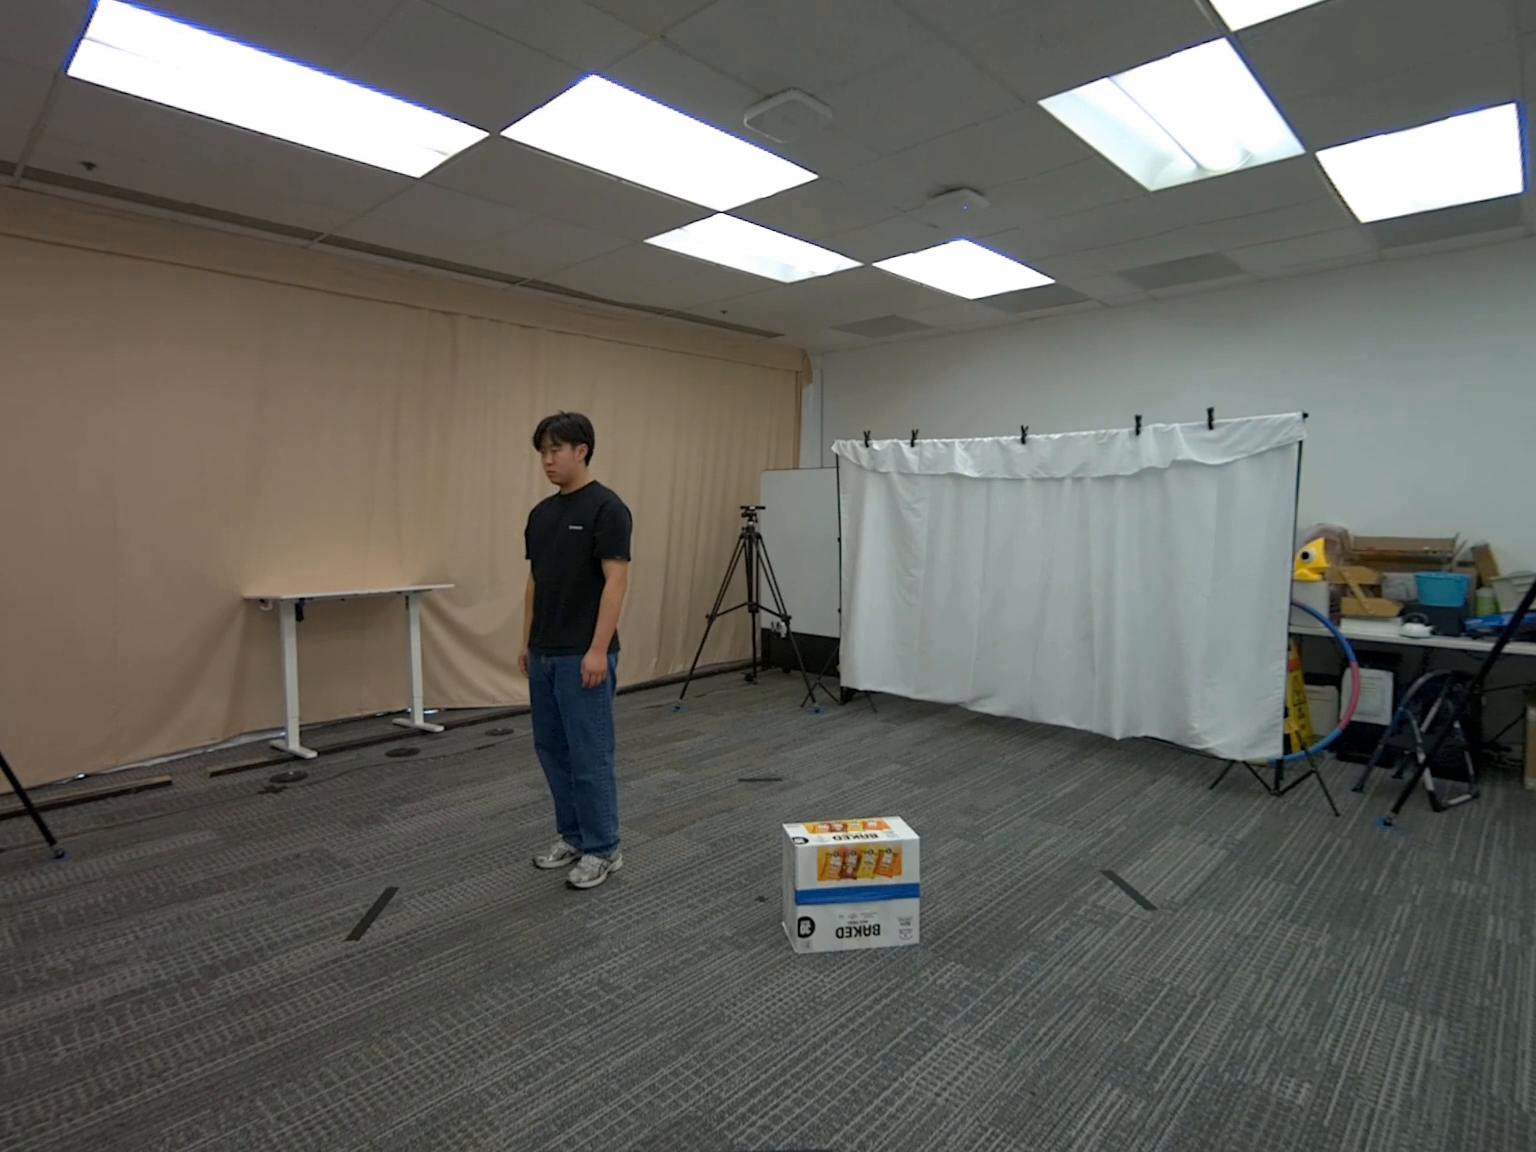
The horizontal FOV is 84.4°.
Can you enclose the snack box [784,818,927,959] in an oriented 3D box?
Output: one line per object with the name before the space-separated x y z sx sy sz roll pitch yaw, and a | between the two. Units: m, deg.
snack box | 0.273 0.993 2.729 0.401 0.340 0.208 -1 1 -9
